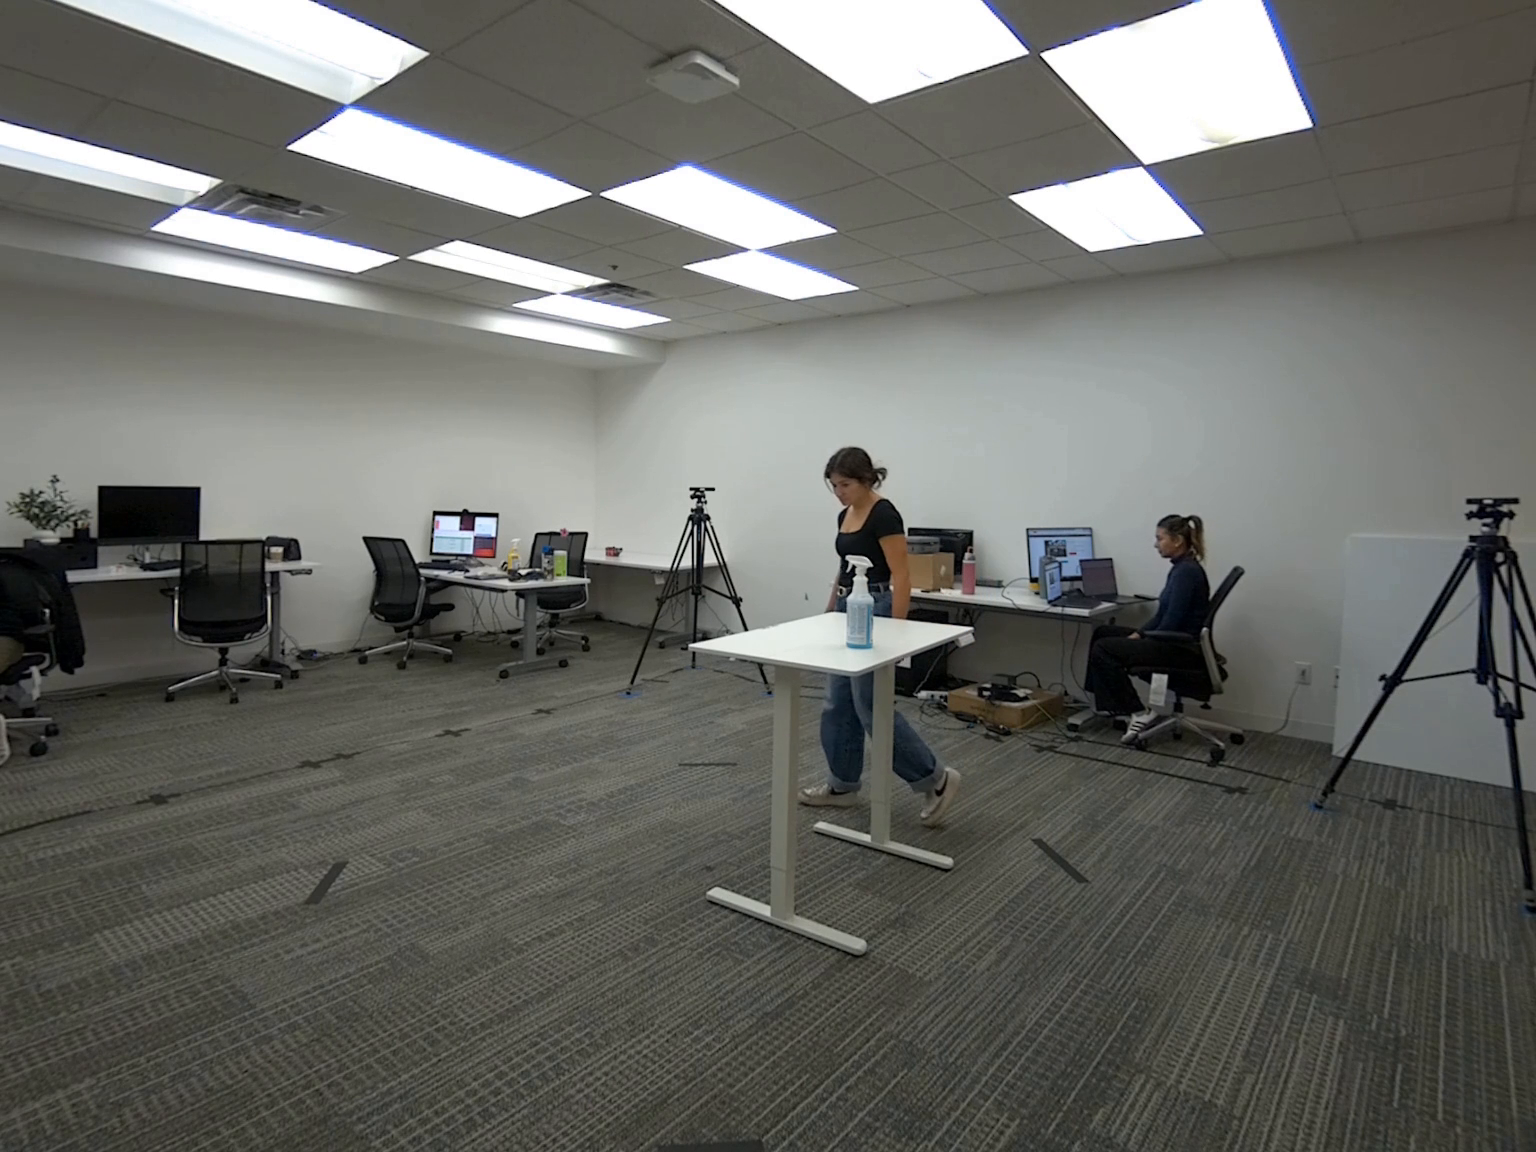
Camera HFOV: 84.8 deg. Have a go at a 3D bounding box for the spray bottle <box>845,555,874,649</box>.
[{"bbox_3d":[0.297,0.082,2.769,0.084,0.297,0.093,-1,2,-35],"label":"spray bottle"}]
